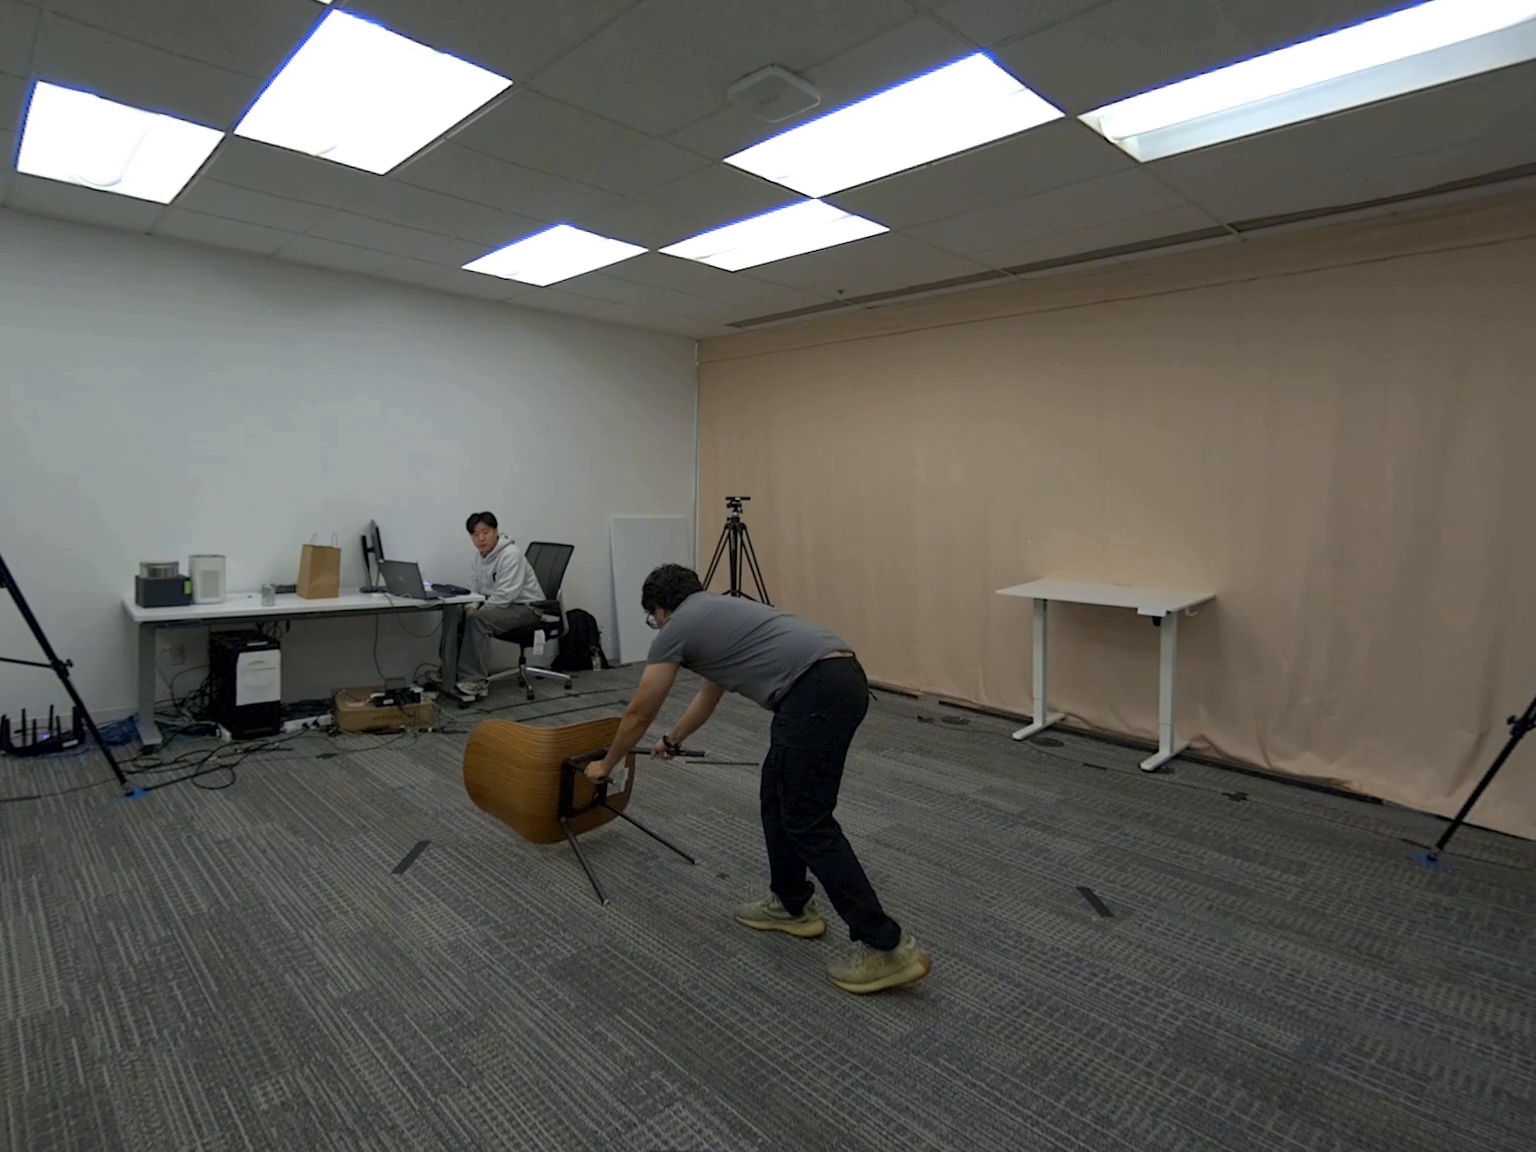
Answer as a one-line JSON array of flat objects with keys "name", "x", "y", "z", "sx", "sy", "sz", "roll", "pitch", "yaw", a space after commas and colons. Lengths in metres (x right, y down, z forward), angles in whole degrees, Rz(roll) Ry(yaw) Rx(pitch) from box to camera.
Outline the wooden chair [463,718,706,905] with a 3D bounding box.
[{"name": "wooden chair", "x": -0.713, "y": 0.819, "z": 3.286, "sx": 0.900, "sy": 0.476, "sz": 0.512, "roll": 11, "pitch": 10, "yaw": 36}]
